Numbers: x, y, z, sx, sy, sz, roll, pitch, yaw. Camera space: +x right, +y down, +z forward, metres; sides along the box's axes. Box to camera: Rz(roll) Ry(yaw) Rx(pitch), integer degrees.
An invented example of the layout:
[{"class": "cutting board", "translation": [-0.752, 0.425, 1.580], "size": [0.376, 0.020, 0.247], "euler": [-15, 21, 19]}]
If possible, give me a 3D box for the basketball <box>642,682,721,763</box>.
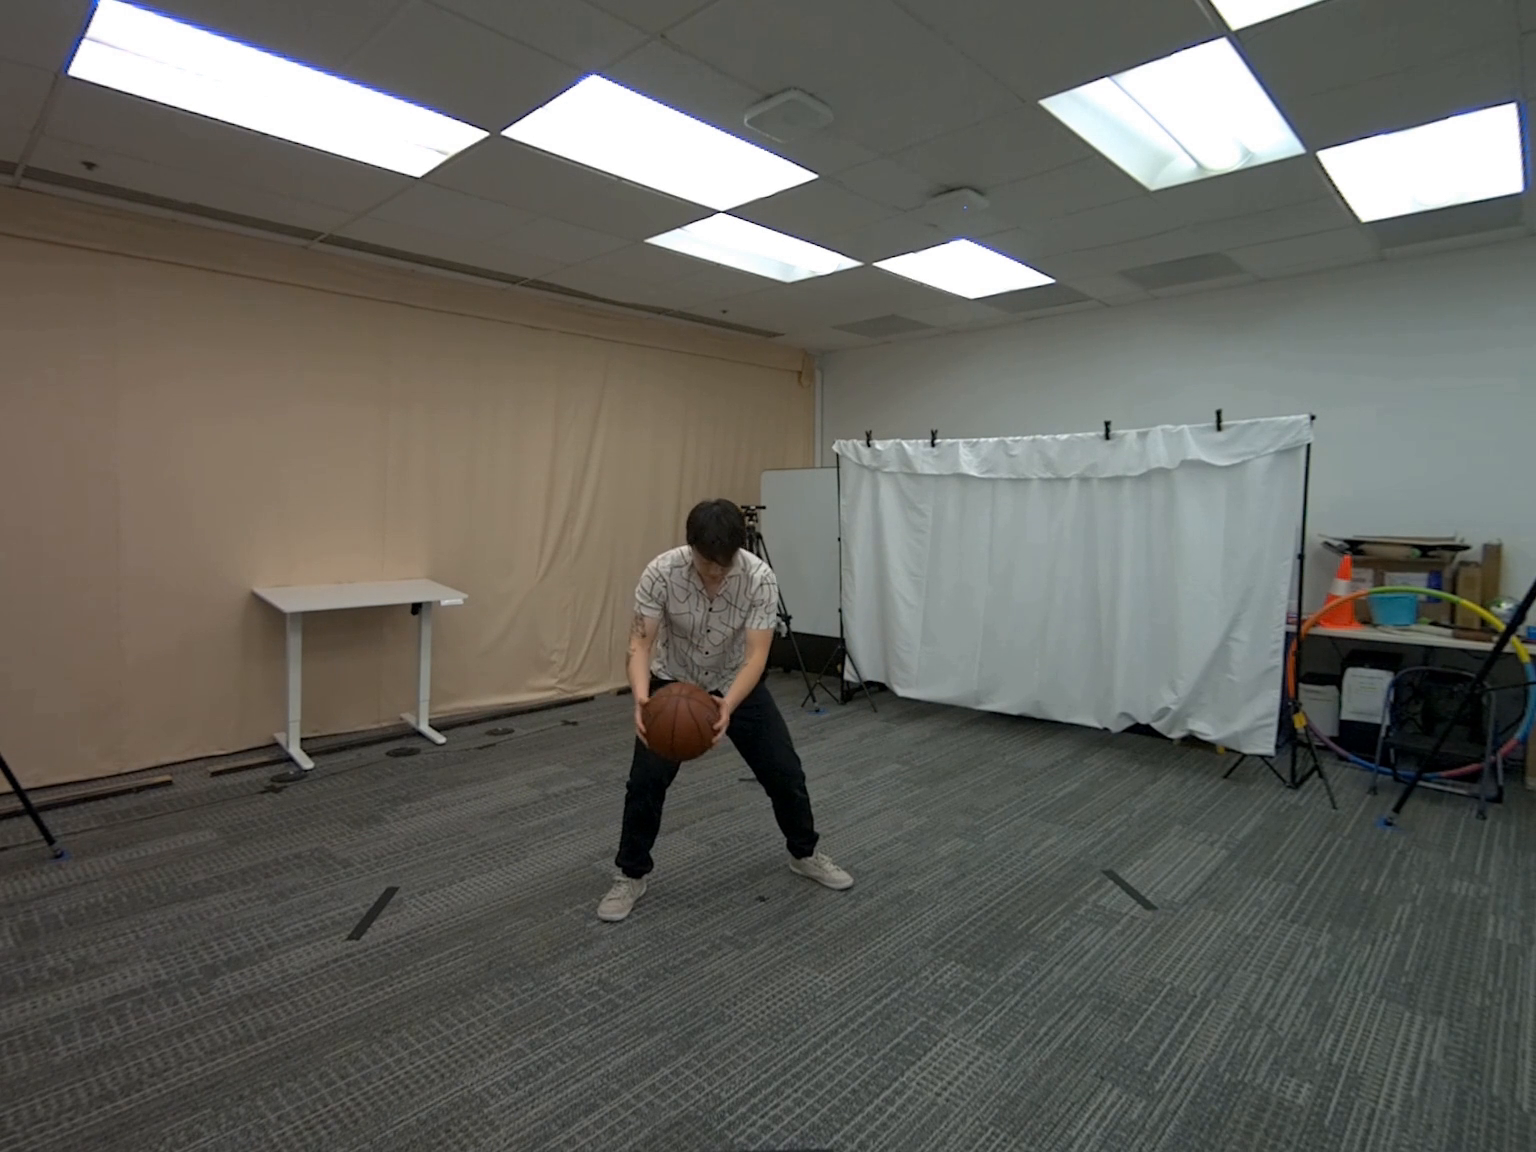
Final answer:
[{"class": "basketball", "translation": [-0.264, 0.440, 2.584], "size": [0.236, 0.235, 0.237], "euler": [0, 4, -2]}]
